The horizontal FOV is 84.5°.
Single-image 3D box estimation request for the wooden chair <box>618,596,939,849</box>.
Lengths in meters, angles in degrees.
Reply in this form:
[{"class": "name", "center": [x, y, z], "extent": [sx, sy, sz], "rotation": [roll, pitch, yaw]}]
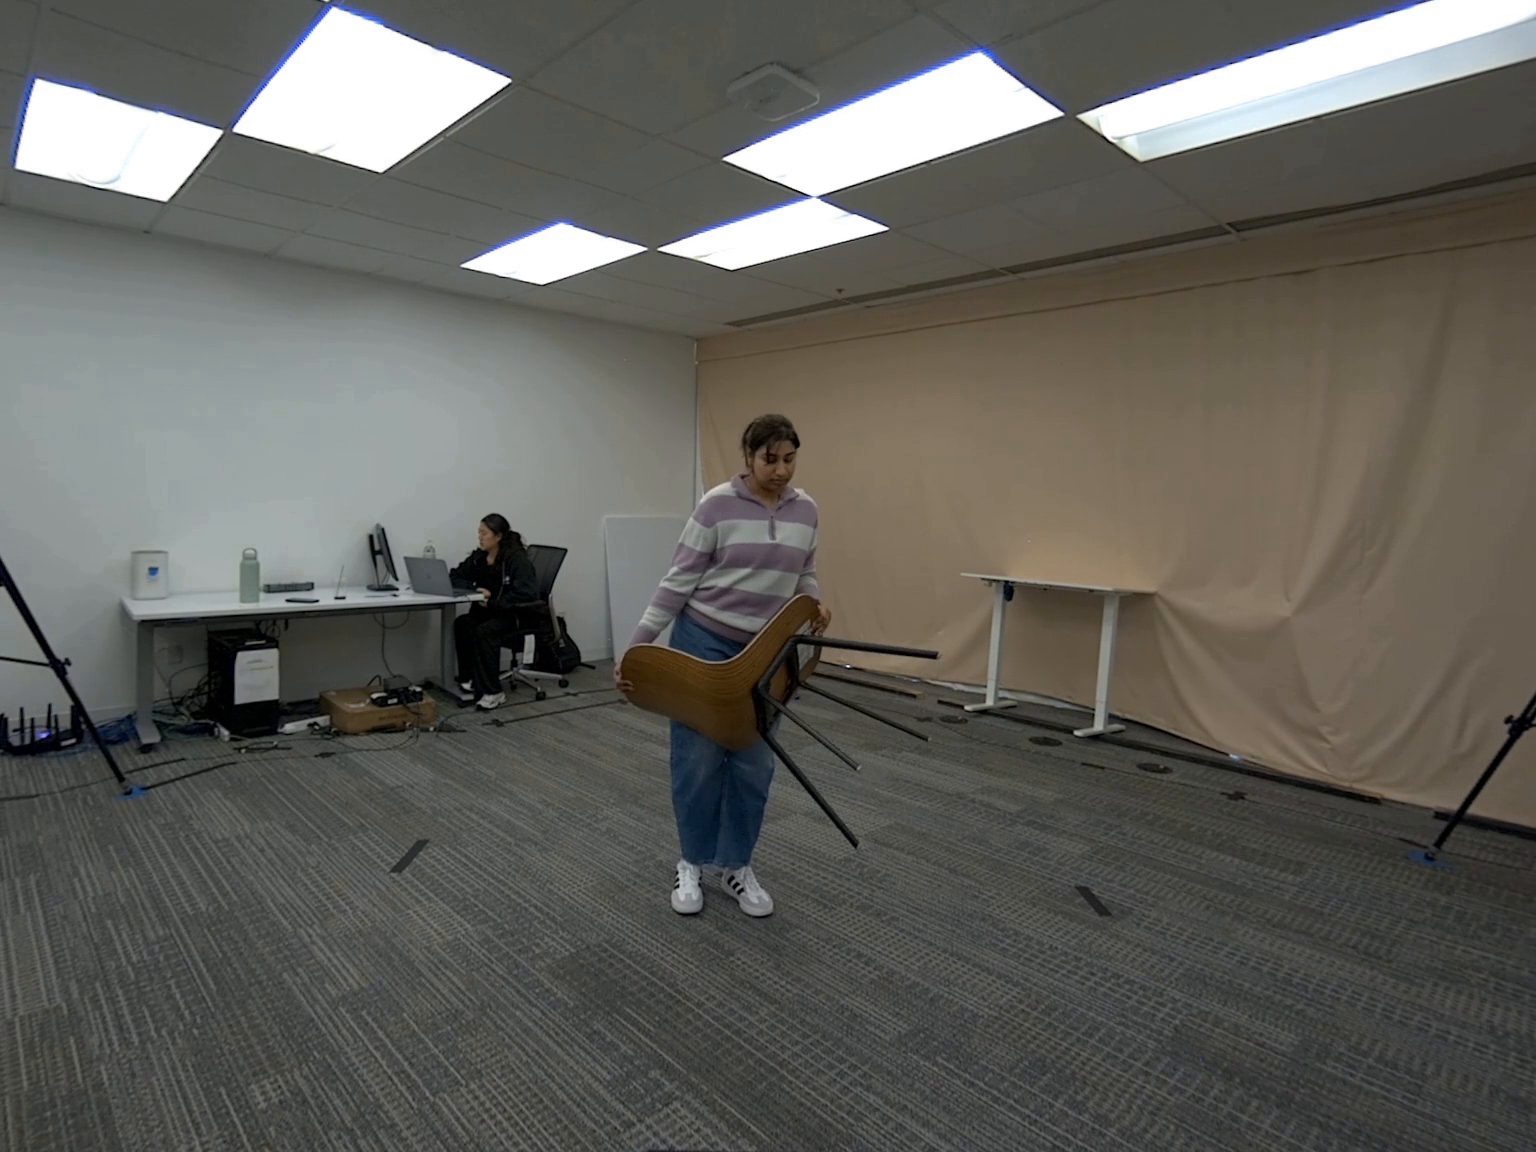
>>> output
[{"class": "wooden chair", "center": [0.032, 0.353, 2.653], "extent": [0.898, 0.466, 0.523], "rotation": [21, 51, 26]}]
